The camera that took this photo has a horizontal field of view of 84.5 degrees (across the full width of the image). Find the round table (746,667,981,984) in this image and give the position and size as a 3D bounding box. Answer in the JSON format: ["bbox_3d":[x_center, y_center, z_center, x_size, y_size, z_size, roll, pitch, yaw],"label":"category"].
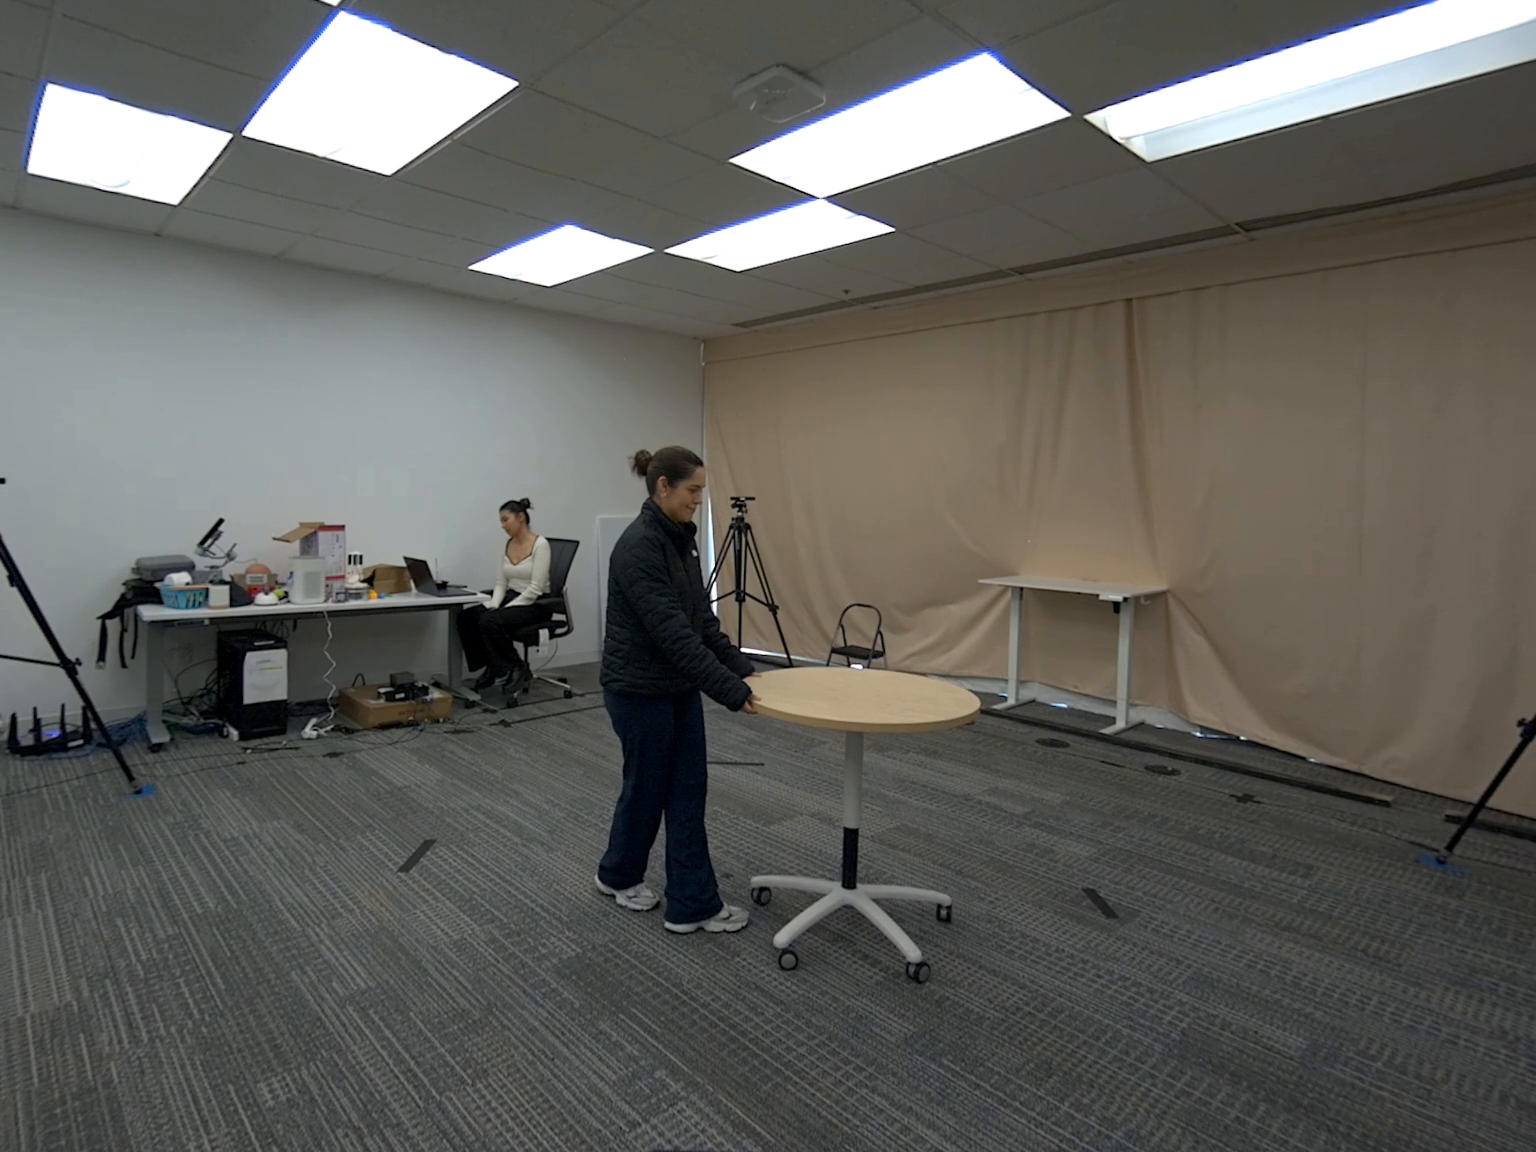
[{"bbox_3d":[0.260,0.758,2.720,0.784,0.784,0.788,2,4,-2],"label":"round table"}]
